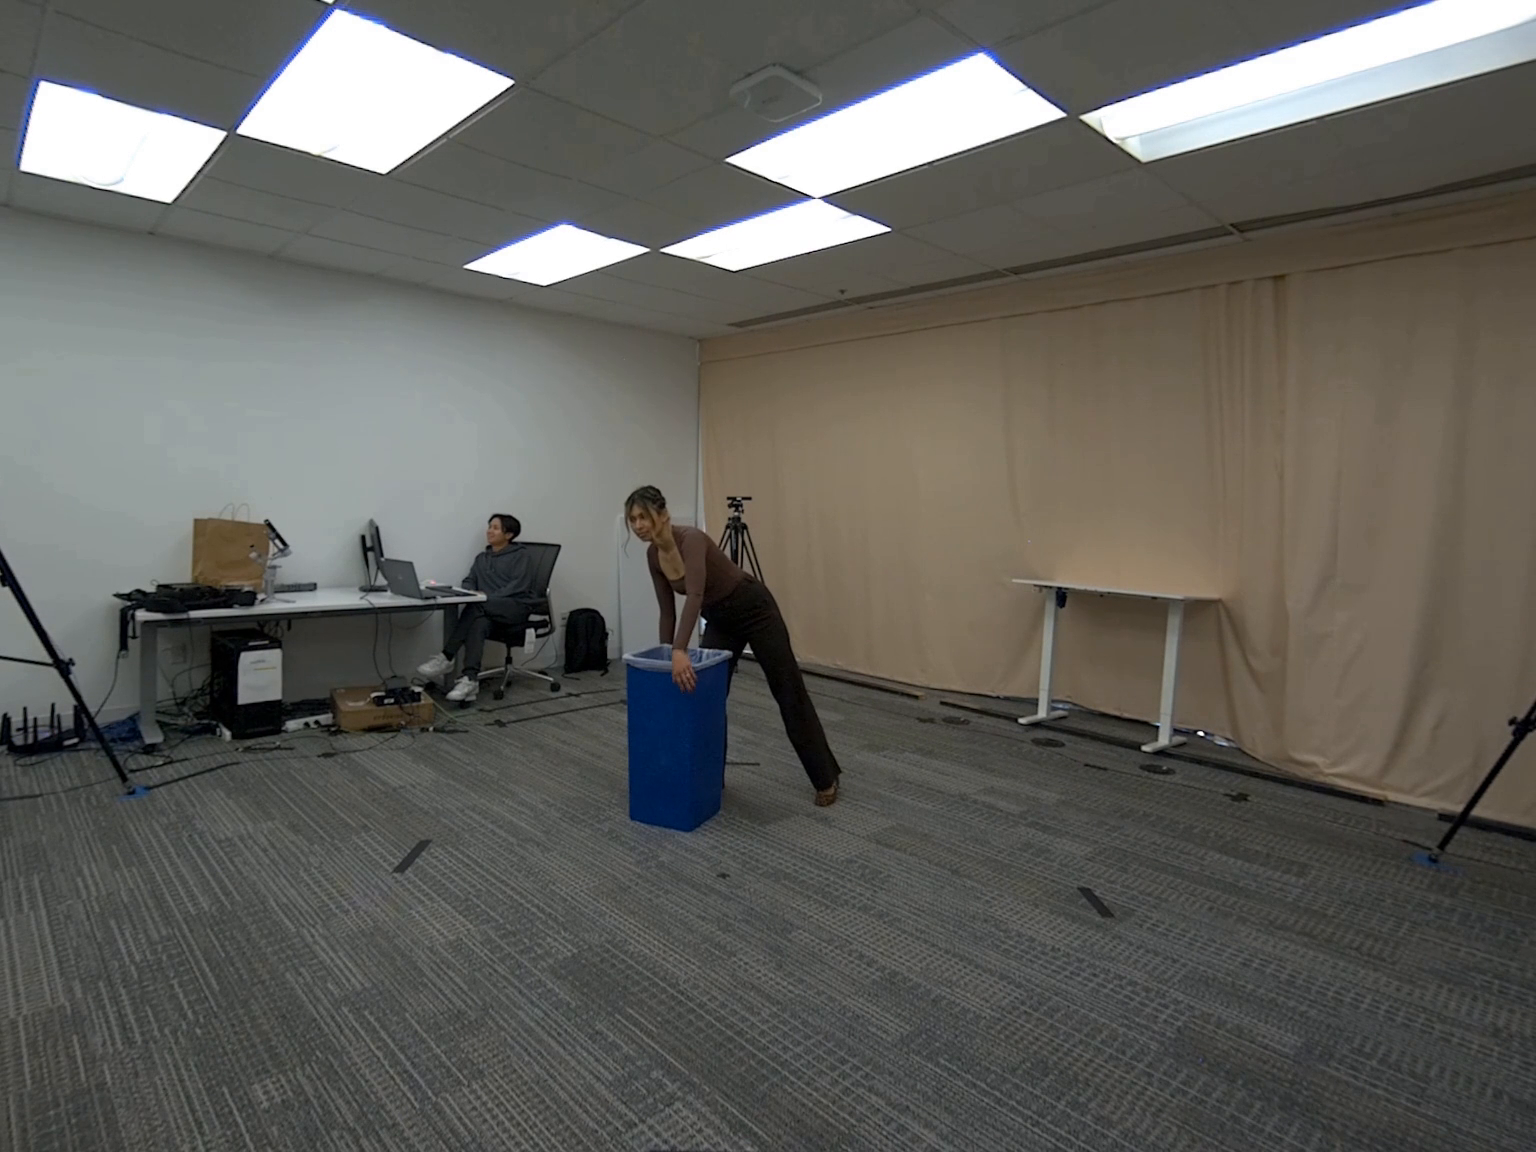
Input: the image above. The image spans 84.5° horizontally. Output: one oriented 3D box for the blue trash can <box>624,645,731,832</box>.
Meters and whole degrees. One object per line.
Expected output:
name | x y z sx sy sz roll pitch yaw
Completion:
blue trash can | -0.409 0.692 3.670 0.385 0.712 0.368 2 3 25
